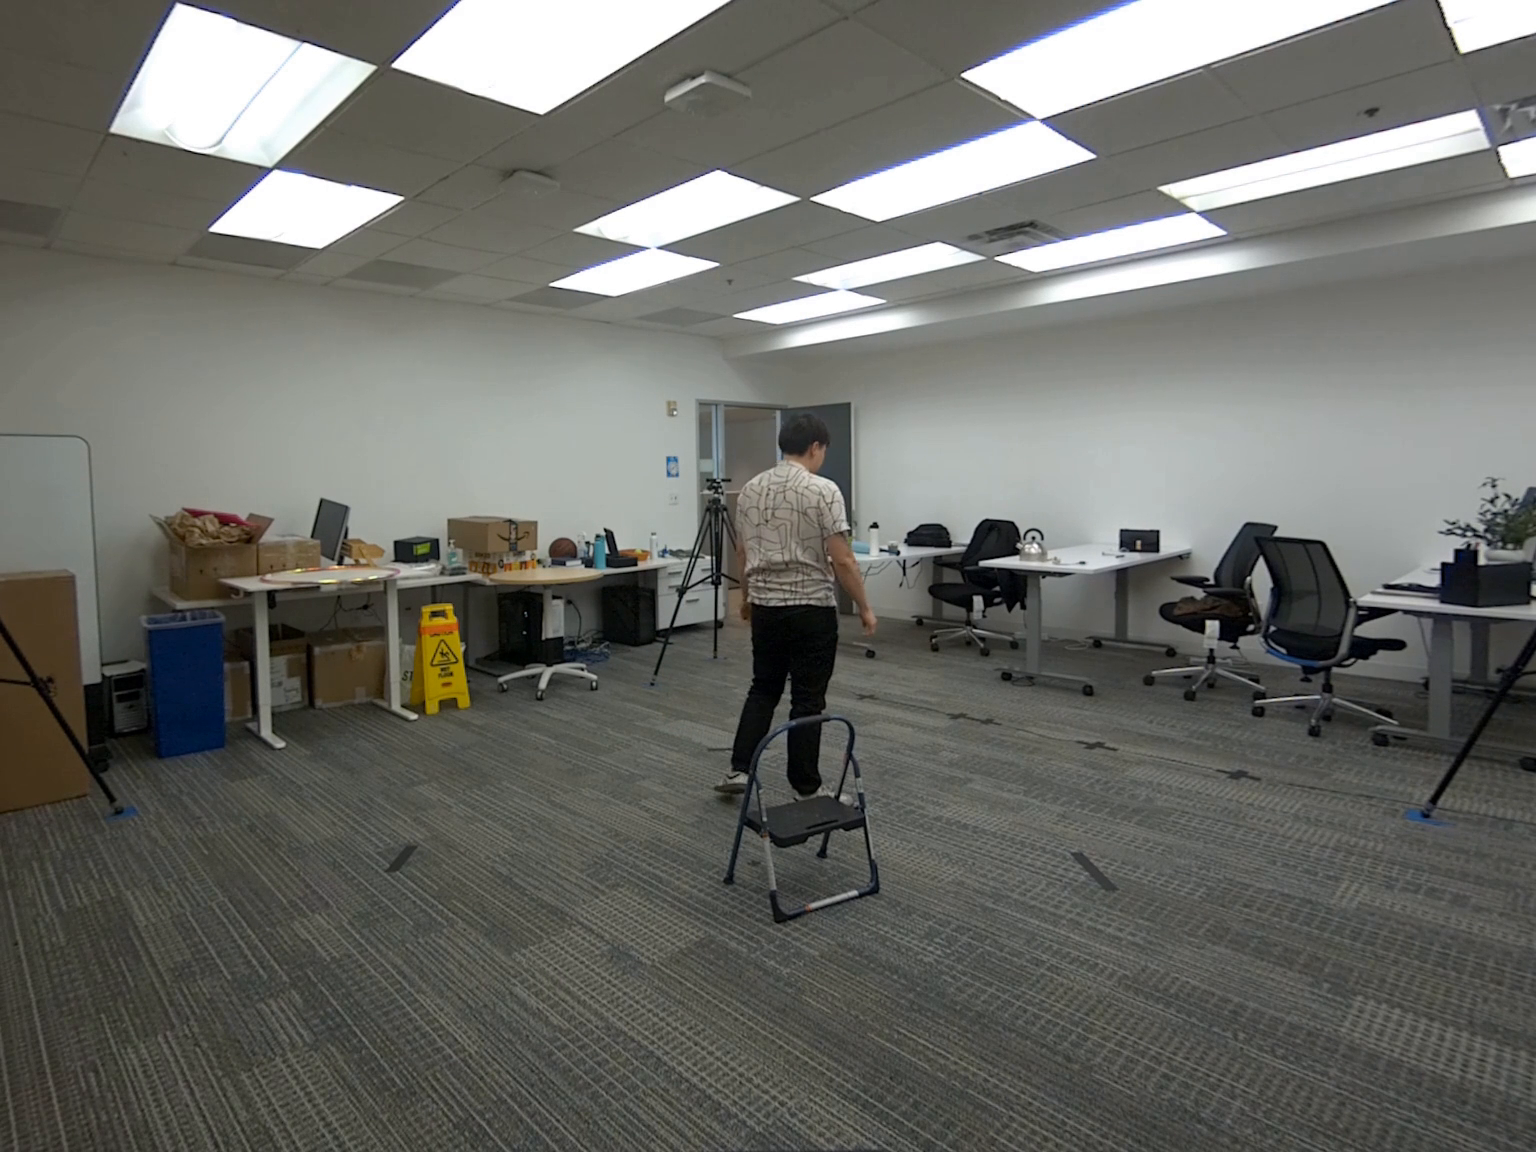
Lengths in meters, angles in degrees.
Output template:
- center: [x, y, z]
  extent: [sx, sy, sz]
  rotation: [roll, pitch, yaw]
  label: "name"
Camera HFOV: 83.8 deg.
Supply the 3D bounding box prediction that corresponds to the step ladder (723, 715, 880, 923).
- center: [0.106, 0.763, 2.903]
  extent: [0.420, 0.603, 0.359]
  rotation: [-4, 6, -31]
  label: "step ladder"
